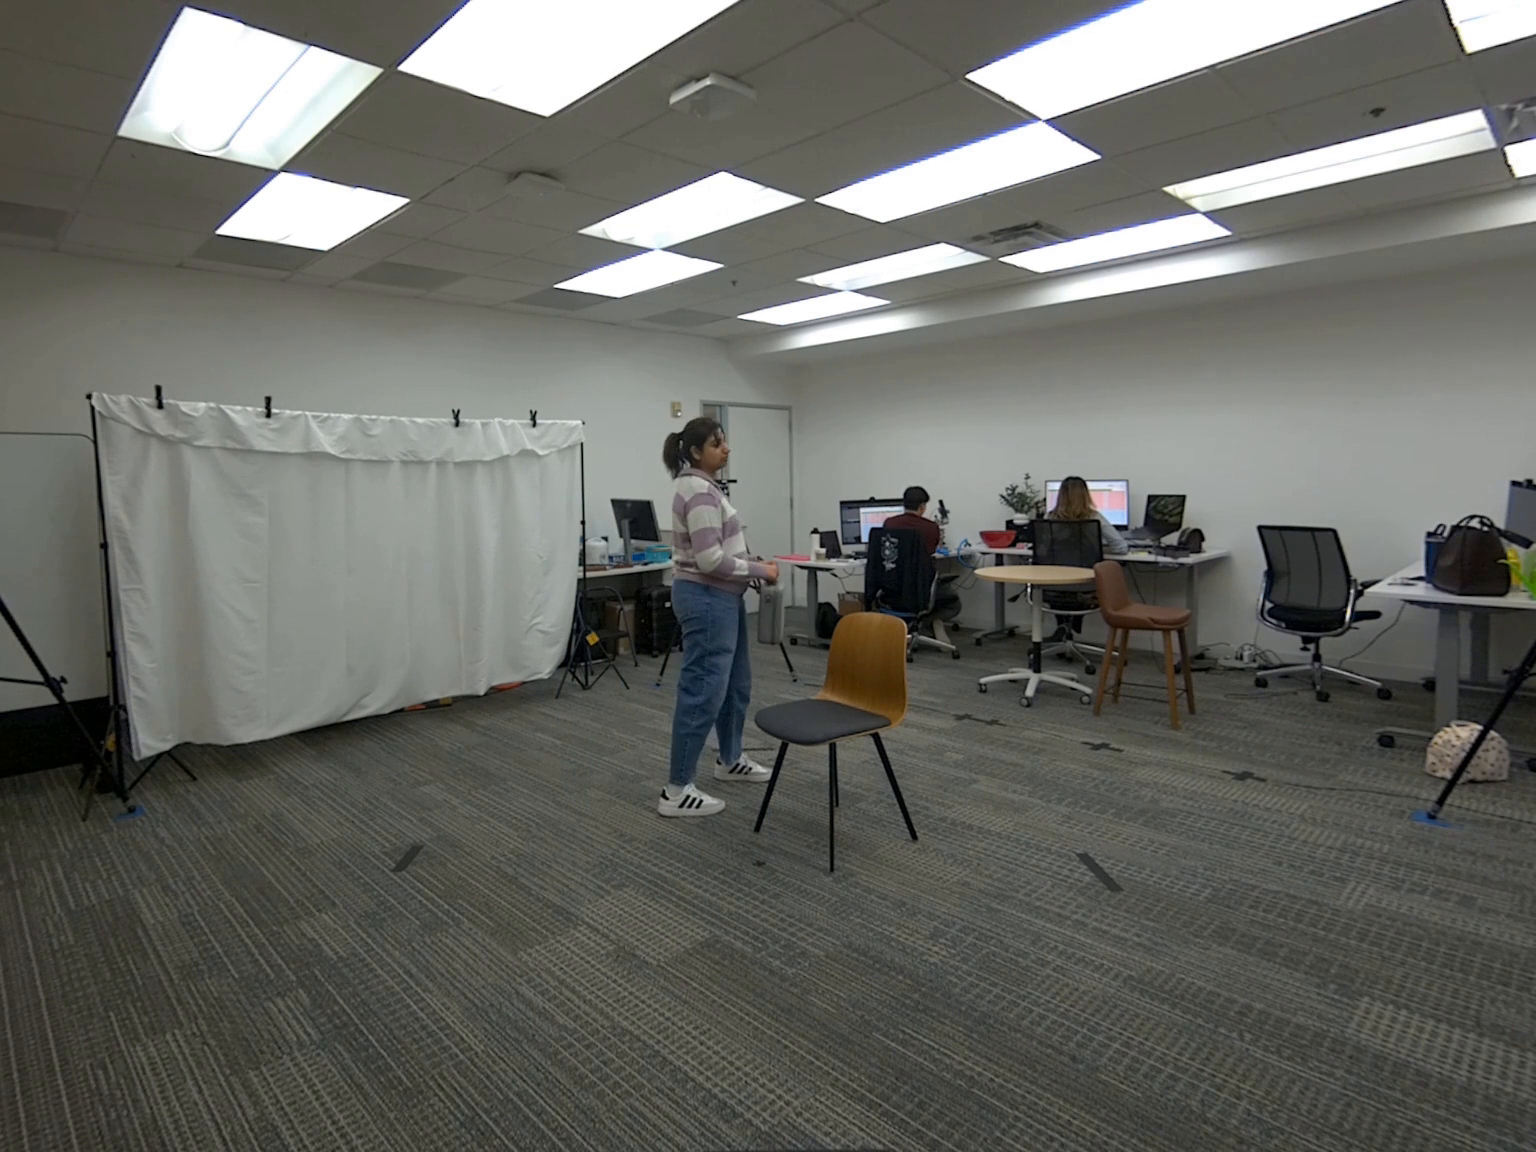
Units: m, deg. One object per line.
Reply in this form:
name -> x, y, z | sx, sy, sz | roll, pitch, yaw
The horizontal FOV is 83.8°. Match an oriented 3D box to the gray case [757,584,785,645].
gray case -> -0.001, 0.152, 3.762 | 0.105, 0.260, 0.256 | 5, 2, 4
